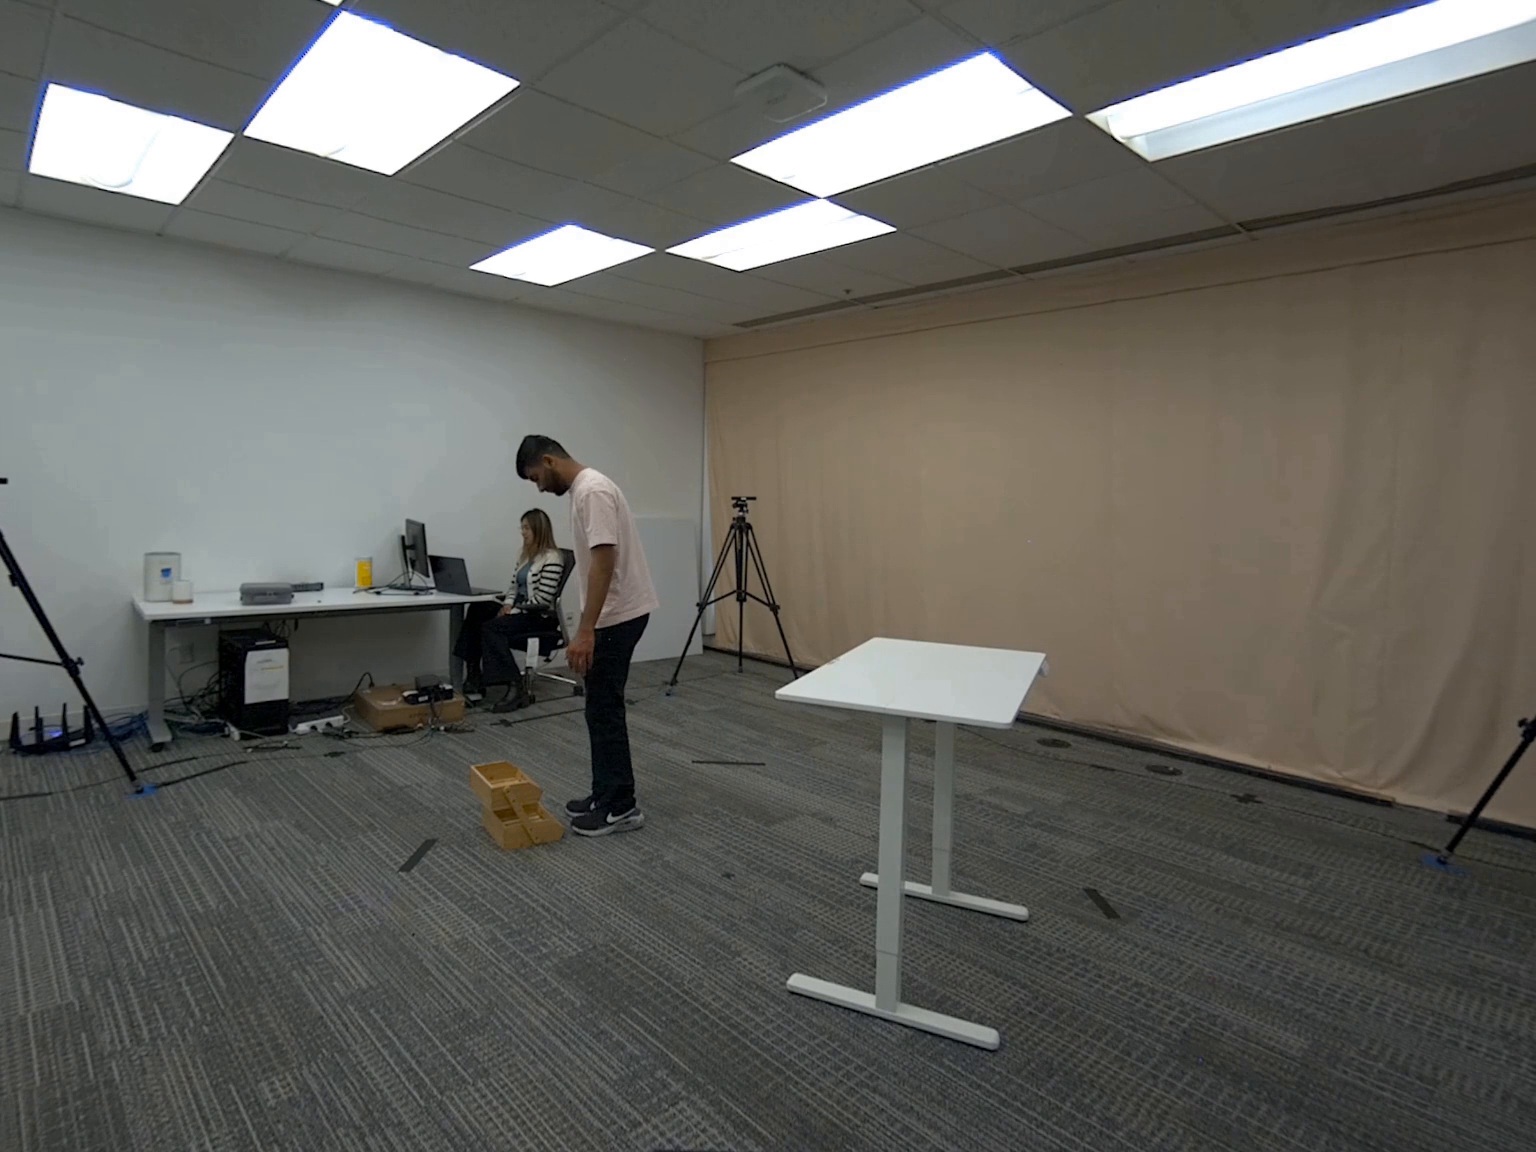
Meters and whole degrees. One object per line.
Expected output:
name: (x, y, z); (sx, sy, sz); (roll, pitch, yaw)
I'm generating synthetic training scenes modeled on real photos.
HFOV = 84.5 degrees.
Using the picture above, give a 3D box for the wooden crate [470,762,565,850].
wooden crate: (-1.035, 0.920, 3.440); (0.295, 0.272, 0.332); (-2, 6, -34)
